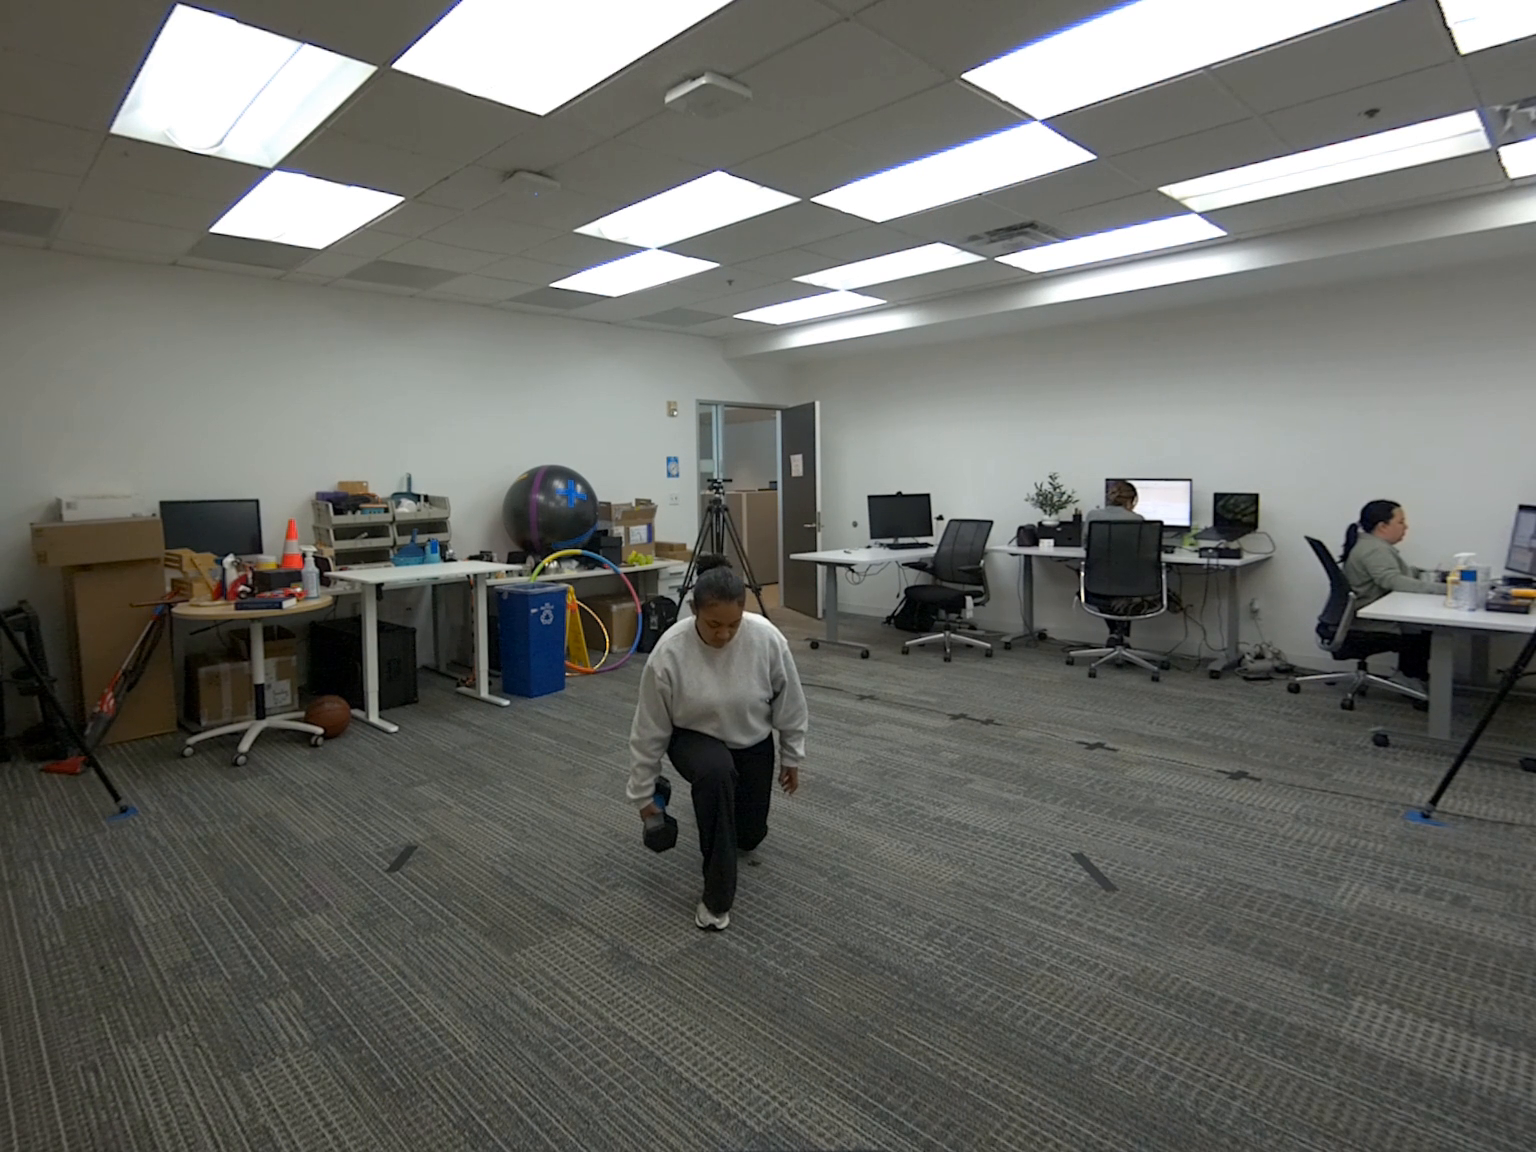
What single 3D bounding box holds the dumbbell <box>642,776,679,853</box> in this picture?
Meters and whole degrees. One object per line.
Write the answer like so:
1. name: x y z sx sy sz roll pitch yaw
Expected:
1. dumbbell: -0.379 0.790 2.917 0.107 0.121 0.302 9 18 -17
